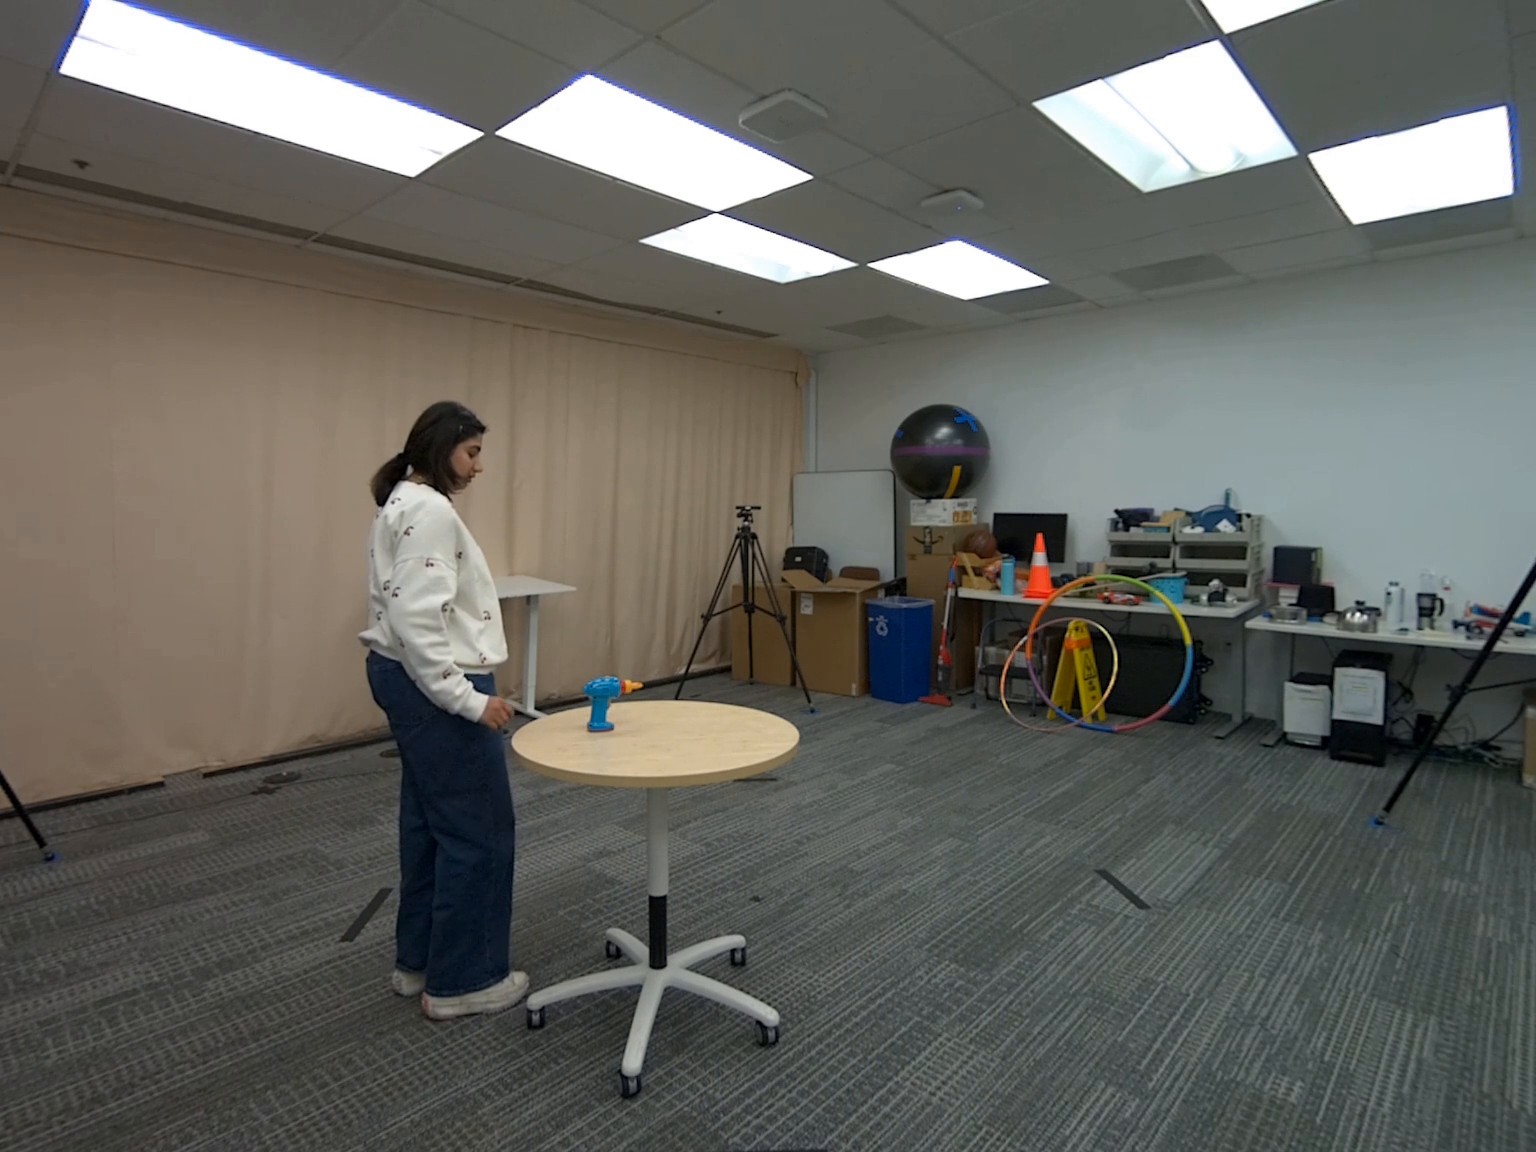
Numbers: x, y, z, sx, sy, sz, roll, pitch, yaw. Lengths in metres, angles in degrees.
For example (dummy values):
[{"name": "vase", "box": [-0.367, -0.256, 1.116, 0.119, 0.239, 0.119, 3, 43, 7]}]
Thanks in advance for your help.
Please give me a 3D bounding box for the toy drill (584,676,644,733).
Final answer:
[{"name": "toy drill", "box": [-0.429, 0.349, 2.295, 0.166, 0.146, 0.062, -3, 0, -26]}]
